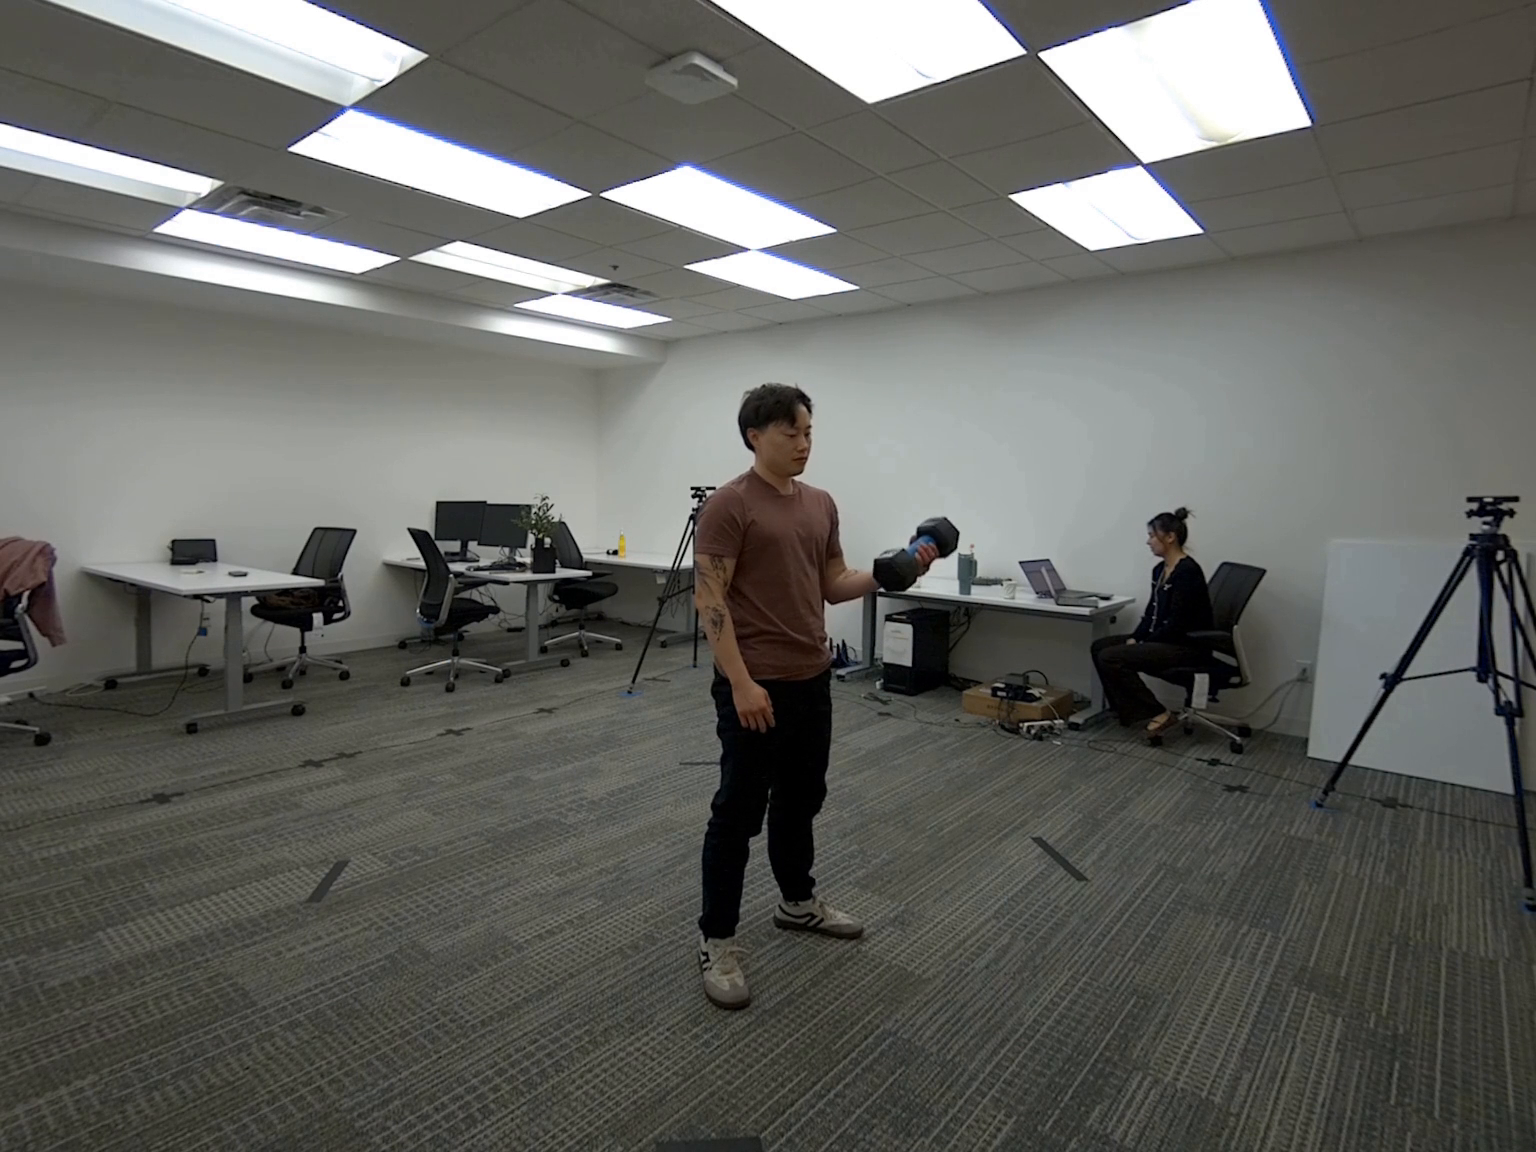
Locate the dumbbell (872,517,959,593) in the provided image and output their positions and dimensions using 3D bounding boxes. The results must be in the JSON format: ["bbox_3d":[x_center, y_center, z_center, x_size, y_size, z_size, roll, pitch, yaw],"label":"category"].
[{"bbox_3d":[0.410,-0.053,2.404,0.291,0.107,0.126,-35,19,-36],"label":"dumbbell"}]
